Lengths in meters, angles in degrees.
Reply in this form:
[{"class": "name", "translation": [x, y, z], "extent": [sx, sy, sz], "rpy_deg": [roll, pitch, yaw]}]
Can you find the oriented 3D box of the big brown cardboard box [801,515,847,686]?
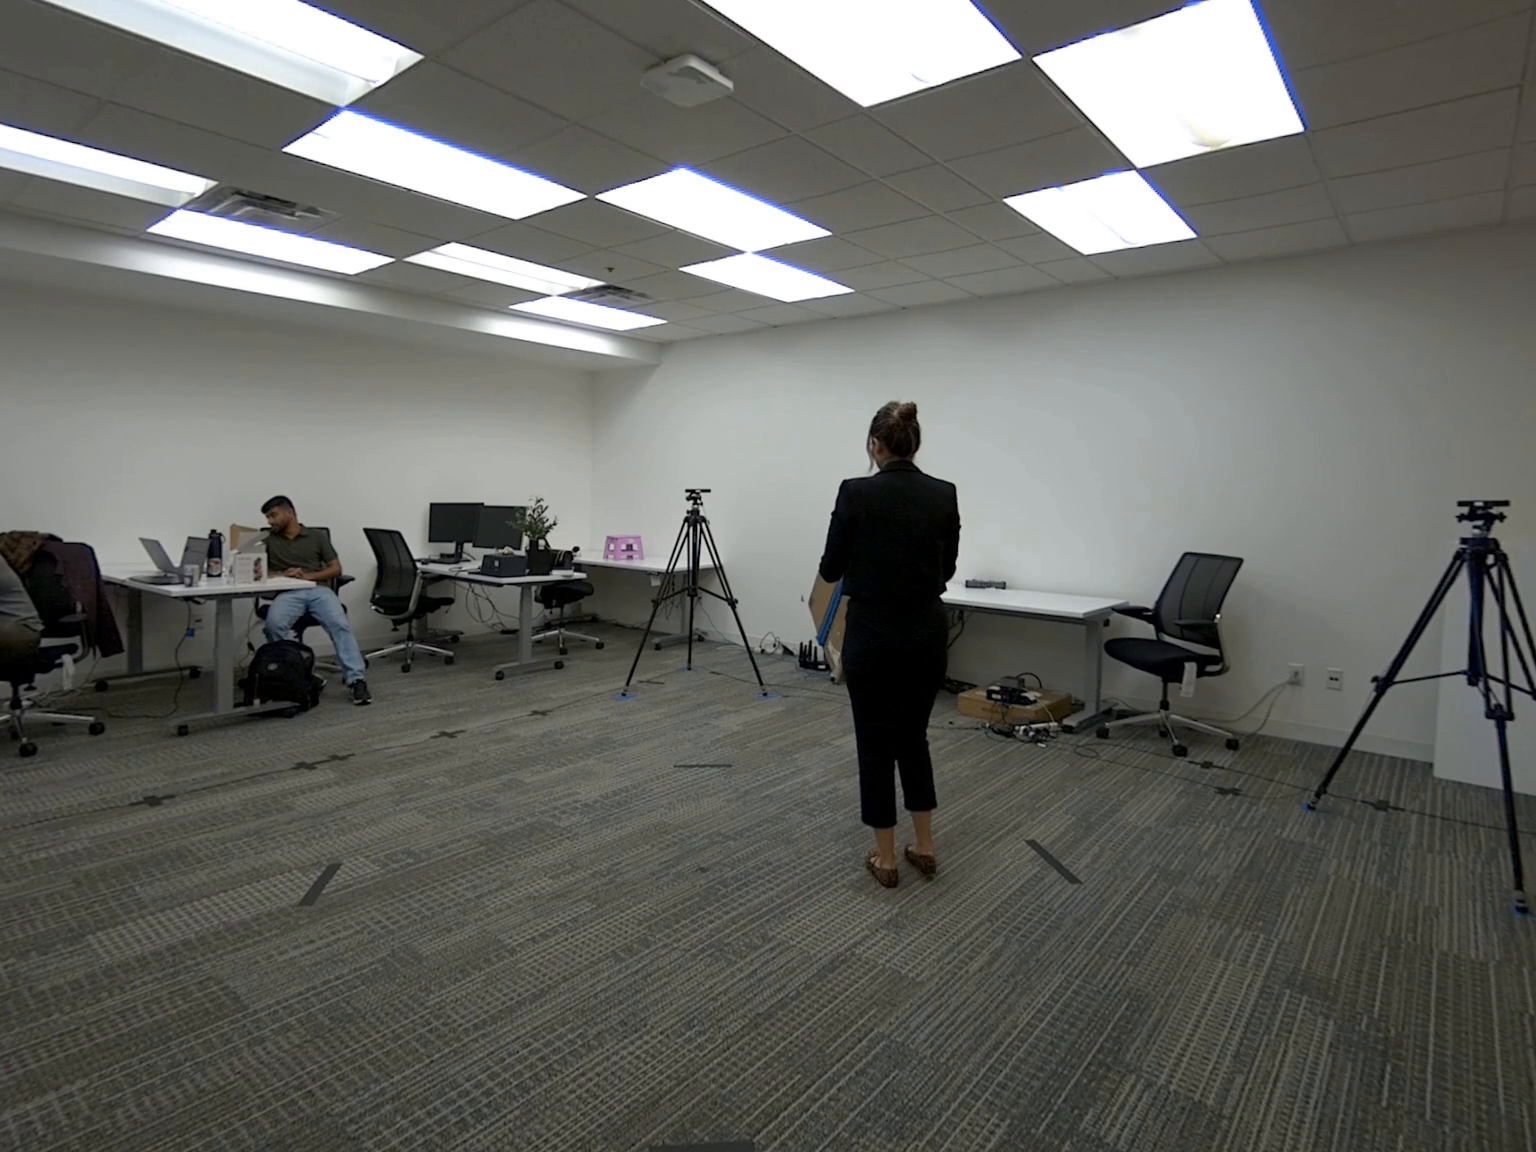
[{"class": "big brown cardboard box", "translation": [0.363, 0.097, 3.469], "extent": [0.230, 0.433, 0.576], "rpy_deg": [-4, -41, -17]}]
